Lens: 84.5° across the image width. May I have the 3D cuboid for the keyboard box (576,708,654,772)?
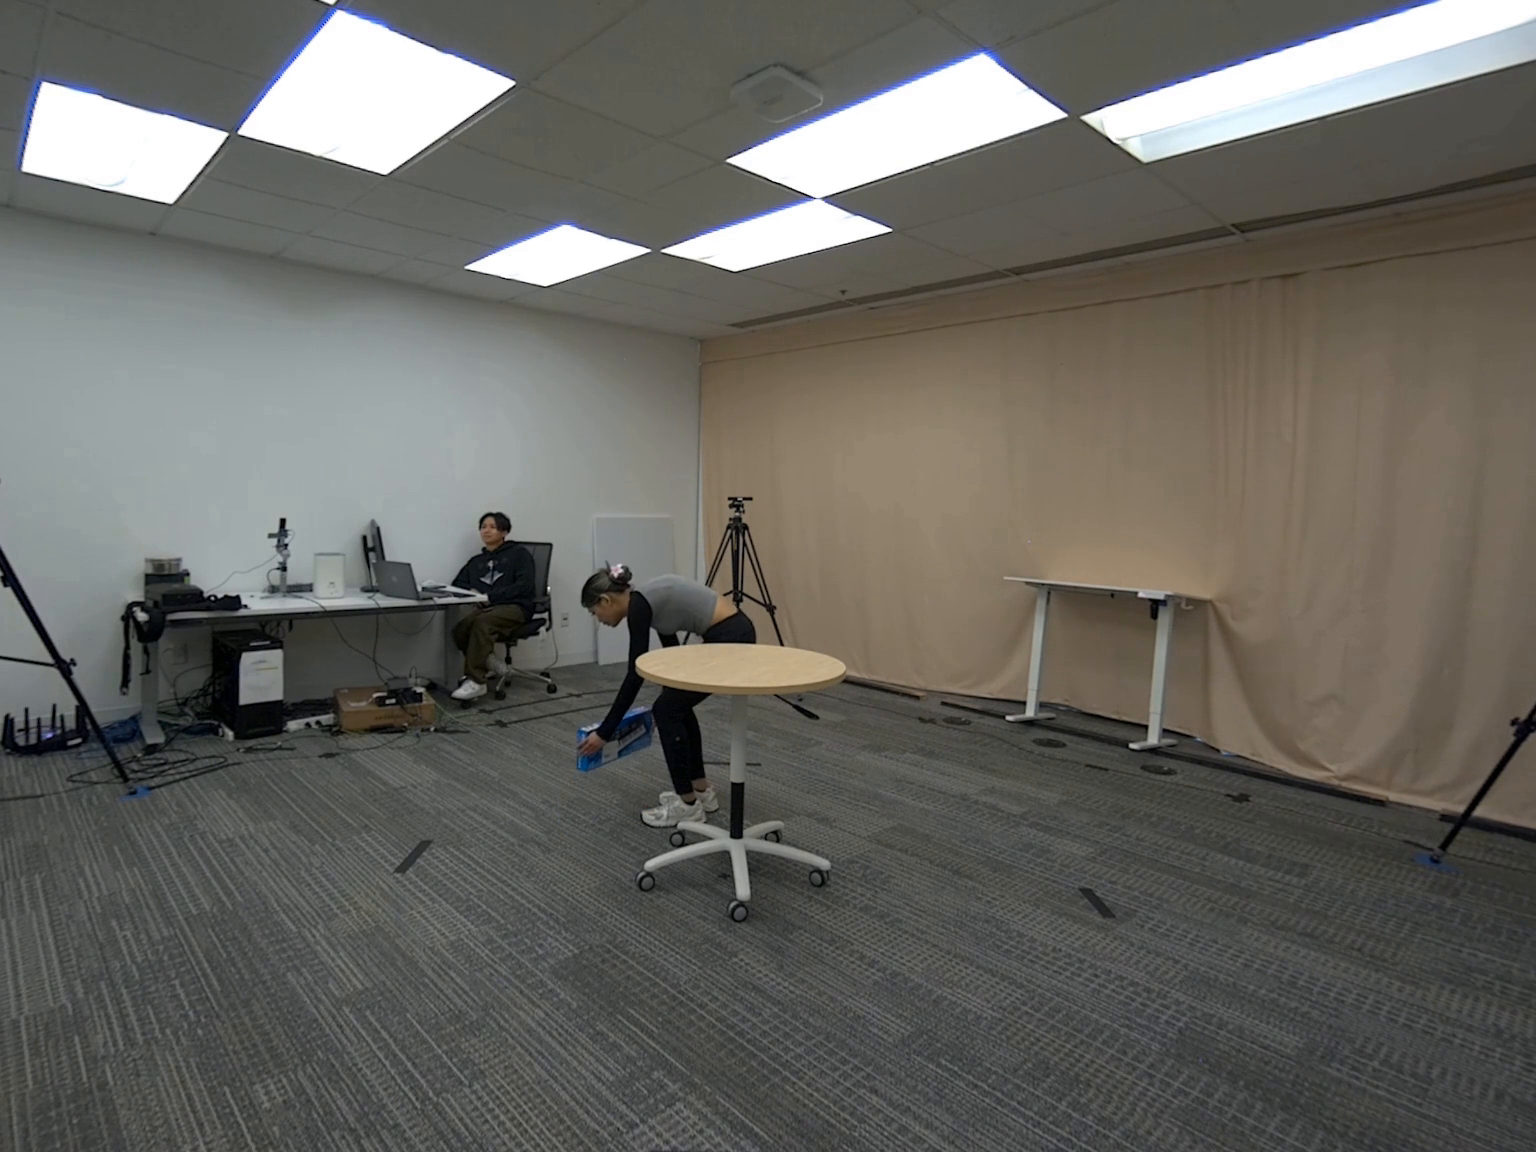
[{"bbox_3d":[-0.671,0.705,3.684,0.060,0.175,0.429,4,7,31],"label":"keyboard box"}]
